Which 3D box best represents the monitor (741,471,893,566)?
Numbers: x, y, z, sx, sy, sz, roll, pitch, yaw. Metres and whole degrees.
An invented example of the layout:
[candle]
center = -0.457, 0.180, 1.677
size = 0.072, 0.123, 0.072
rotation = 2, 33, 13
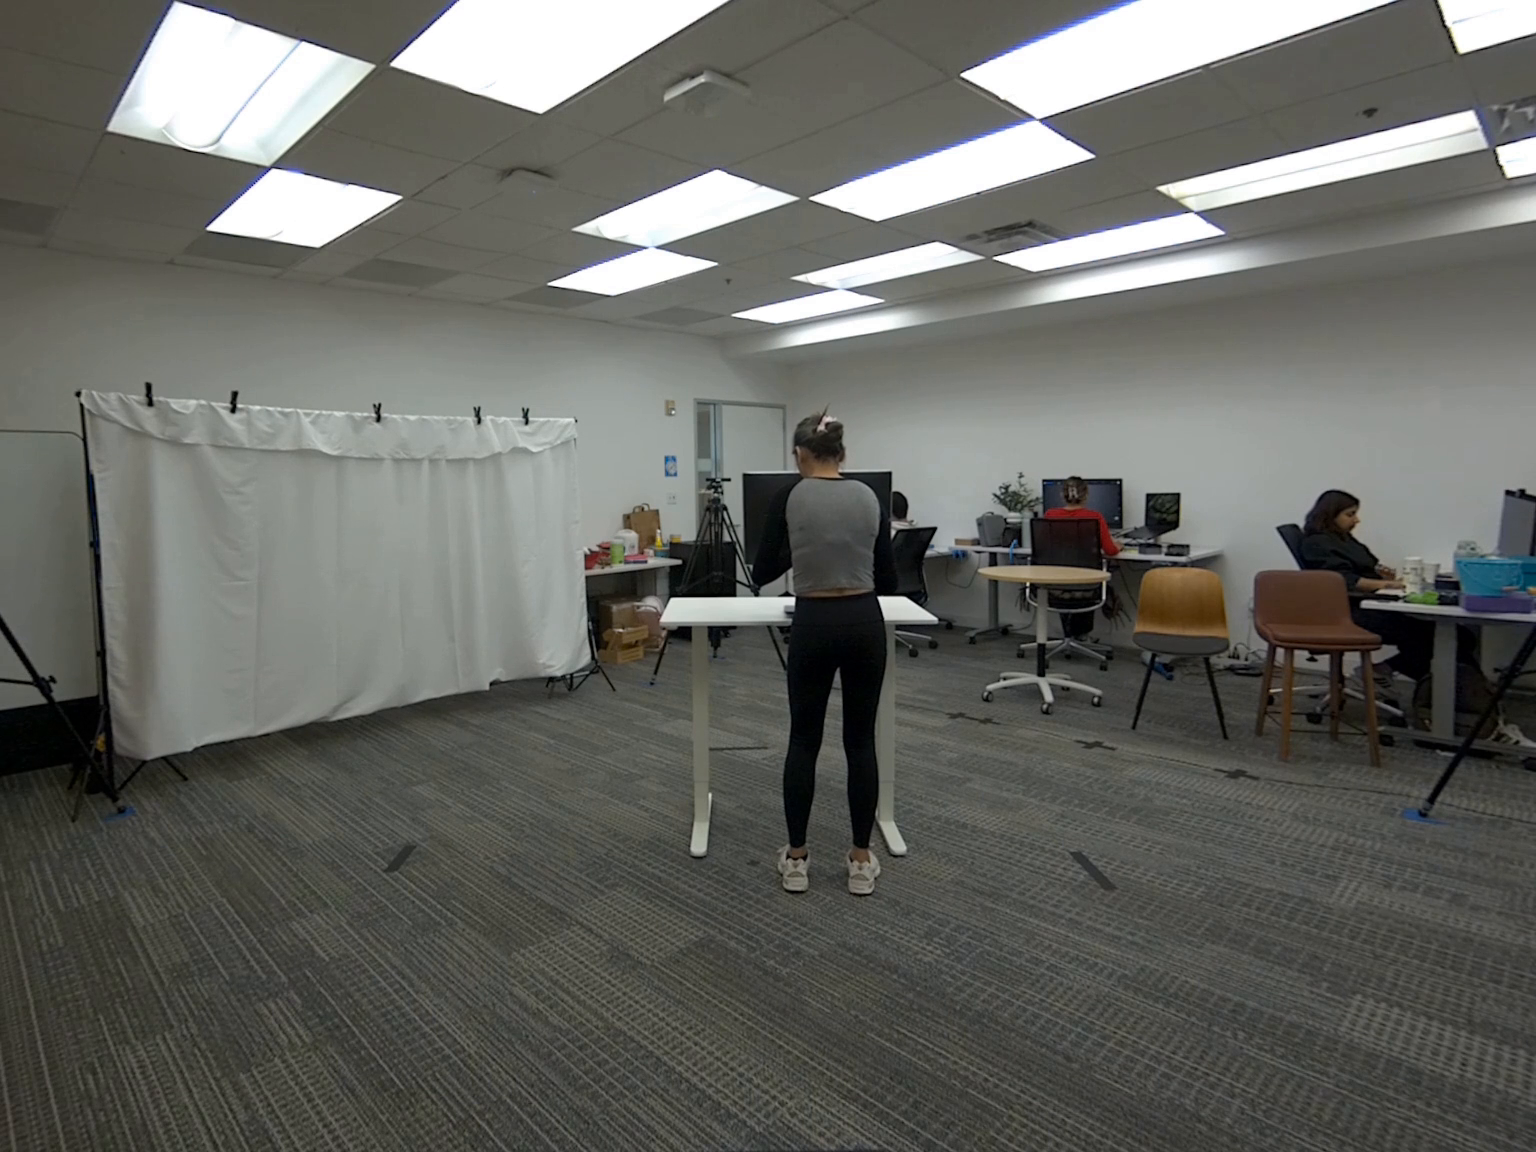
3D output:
[monitor]
center = 0.181, -0.119, 3.187
size = 0.541, 0.523, 0.186
rotation = 1, 0, 3
